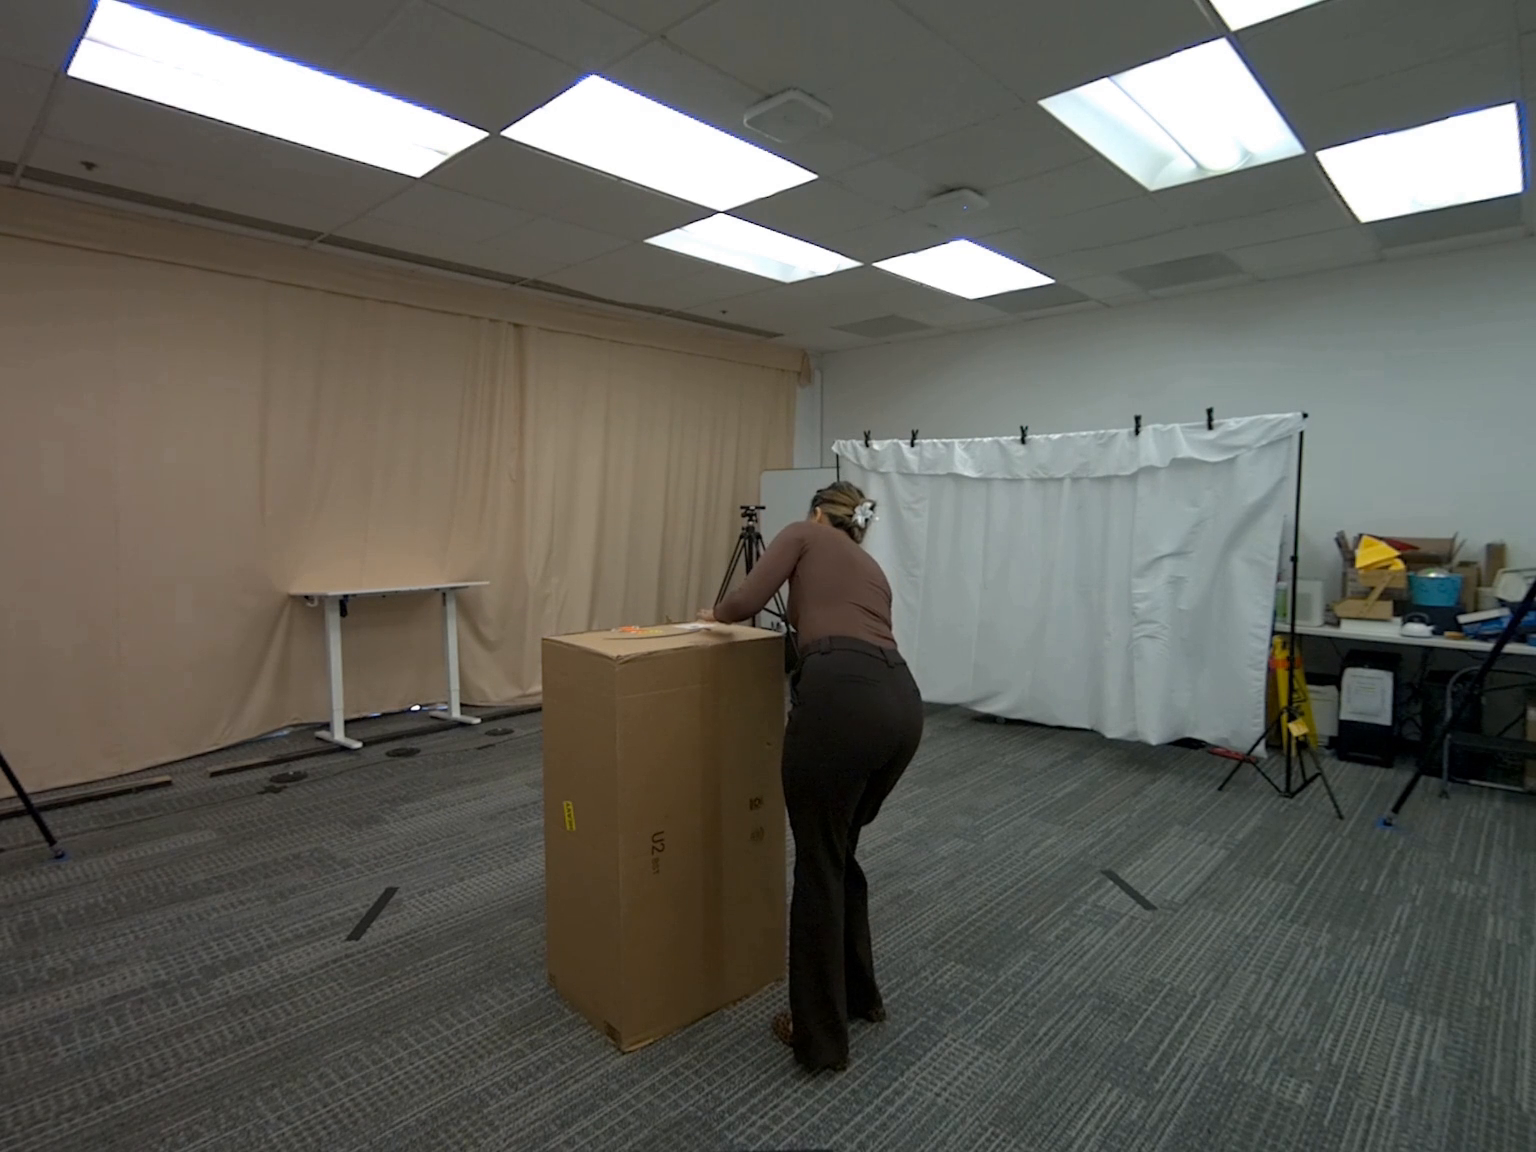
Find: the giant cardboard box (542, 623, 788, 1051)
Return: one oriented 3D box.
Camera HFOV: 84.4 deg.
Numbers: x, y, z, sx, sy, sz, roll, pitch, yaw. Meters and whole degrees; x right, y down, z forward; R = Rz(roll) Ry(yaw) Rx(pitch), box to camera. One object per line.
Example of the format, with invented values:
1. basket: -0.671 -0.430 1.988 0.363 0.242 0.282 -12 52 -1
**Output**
1. giant cardboard box: -0.298 0.678 2.454 0.566 1.025 0.461 -2 3 -39
